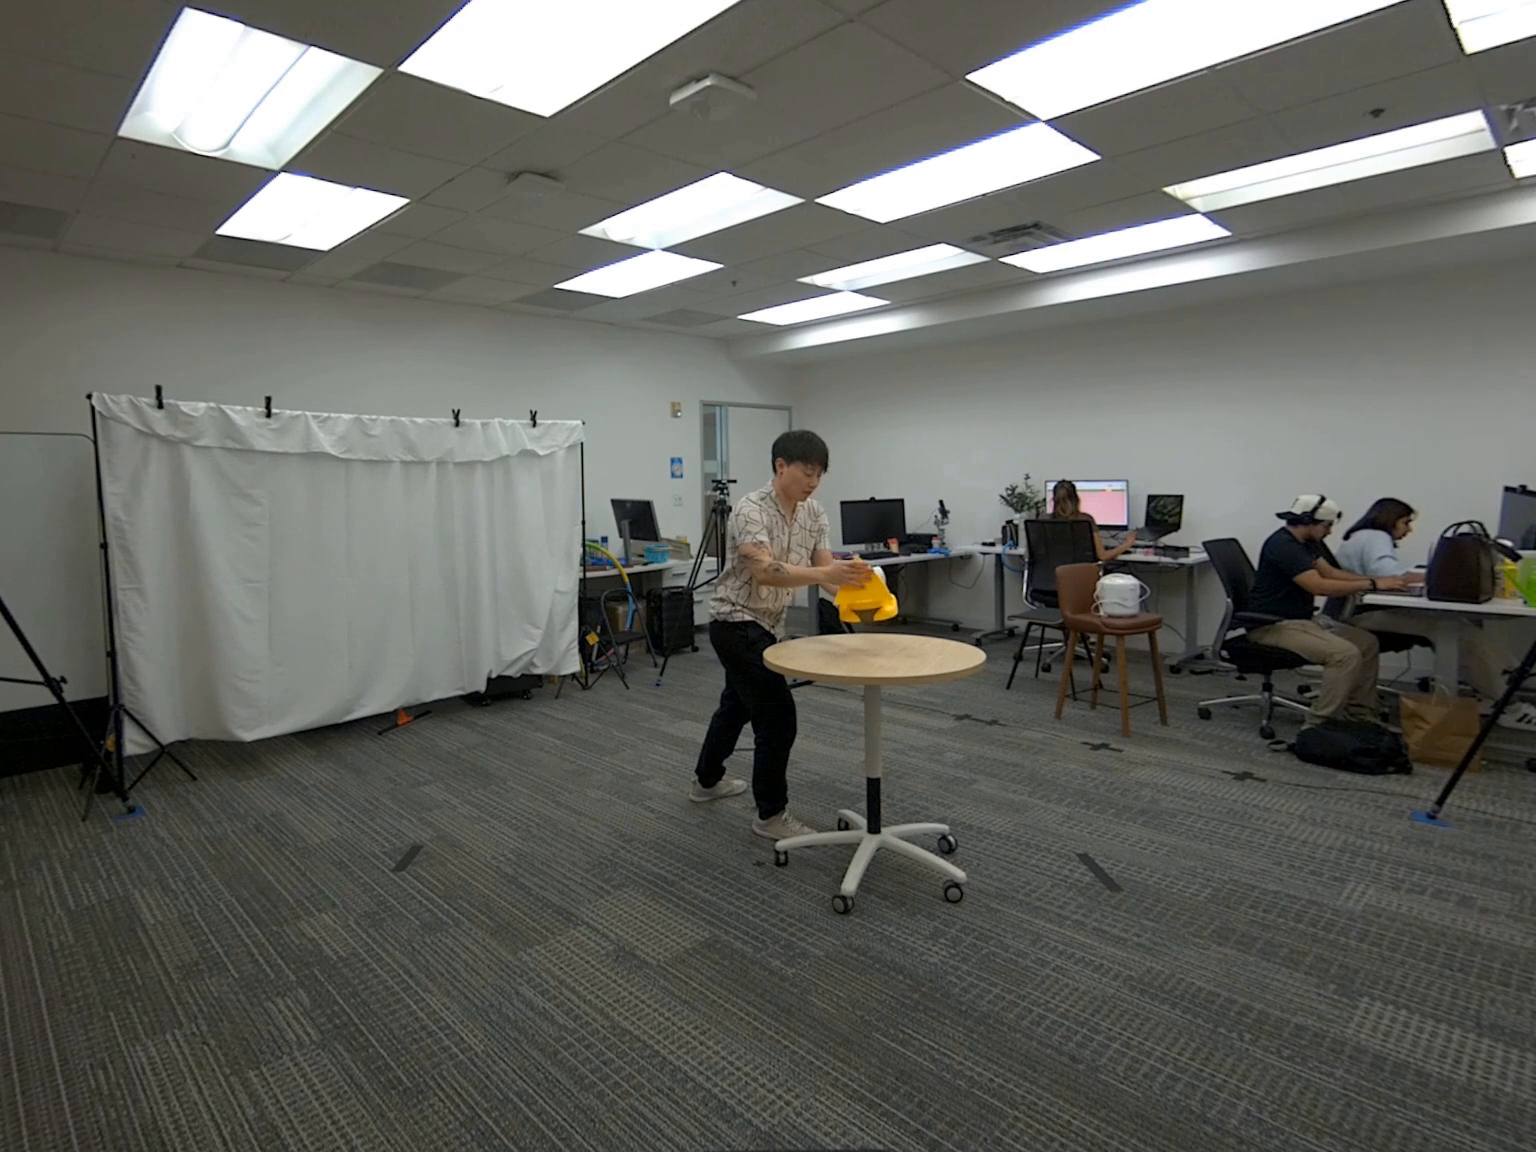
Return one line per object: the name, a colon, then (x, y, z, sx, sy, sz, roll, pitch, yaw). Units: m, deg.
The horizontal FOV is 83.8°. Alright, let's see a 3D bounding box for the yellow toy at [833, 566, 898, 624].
yellow toy: (0.336, 0.023, 2.963, 0.207, 0.227, 0.194, -6, 18, 14)
